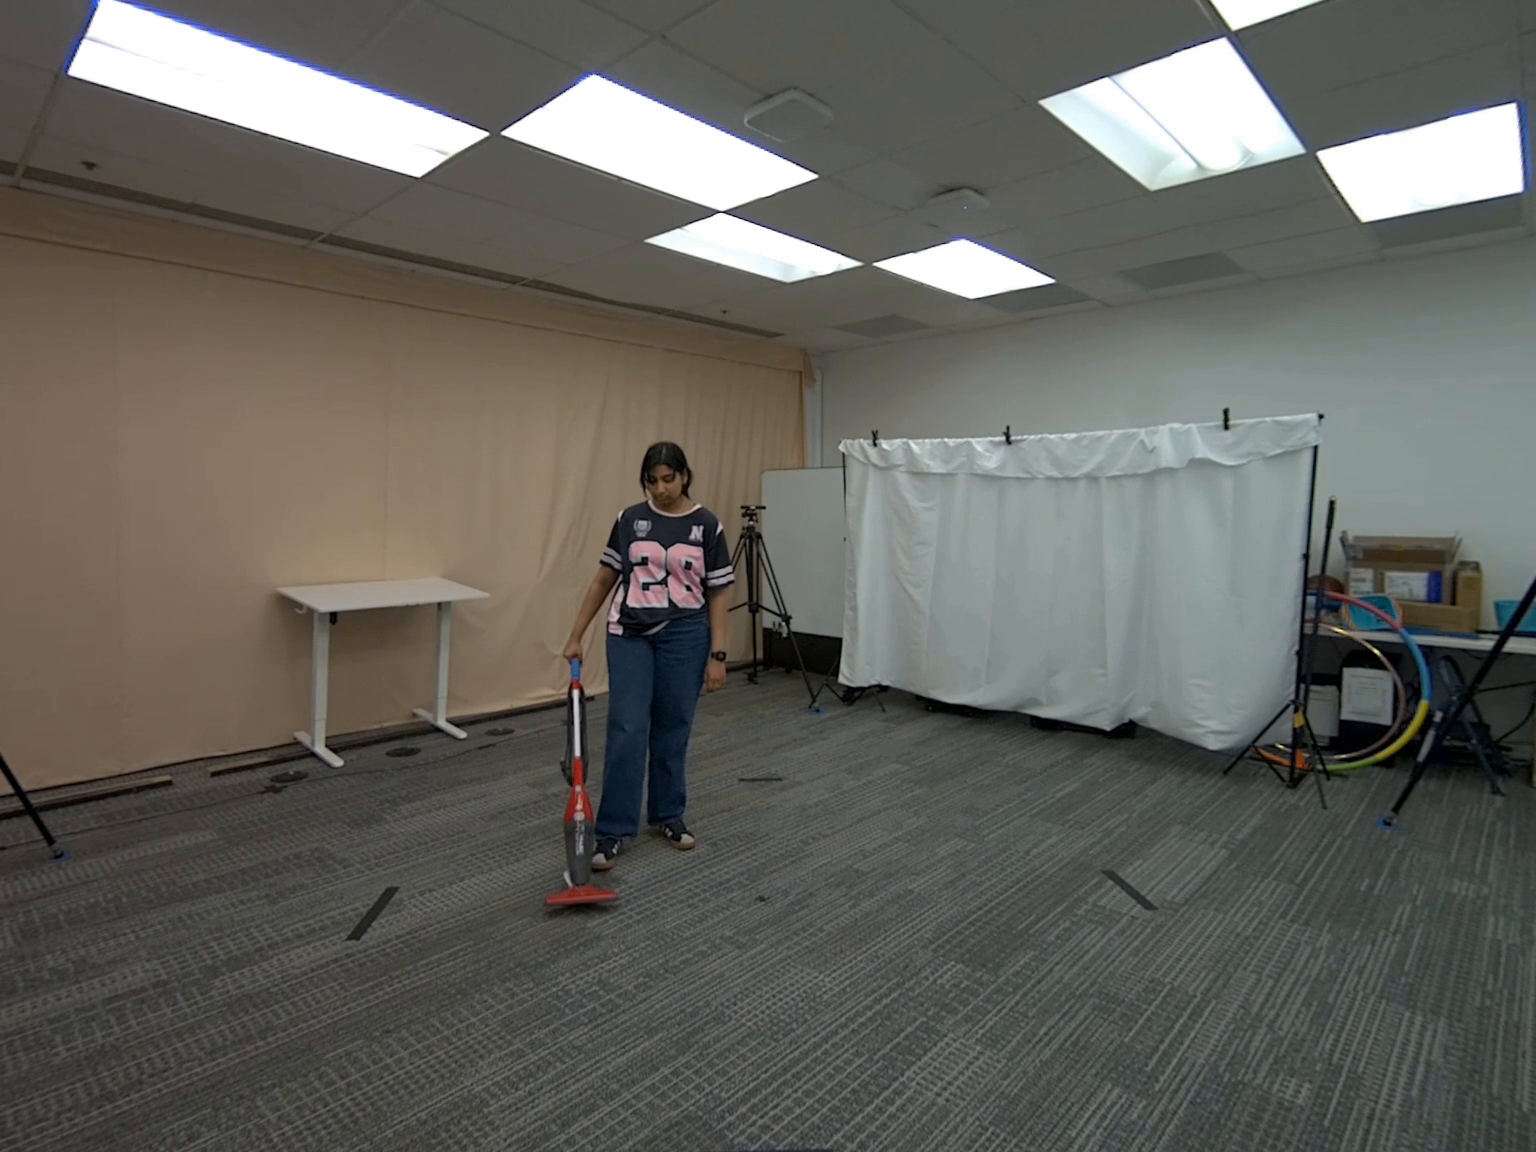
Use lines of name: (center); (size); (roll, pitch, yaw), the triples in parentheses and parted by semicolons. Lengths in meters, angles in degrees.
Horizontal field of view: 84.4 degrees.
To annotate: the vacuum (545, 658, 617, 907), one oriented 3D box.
vacuum: (-0.737, 0.726, 3.254); (0.249, 1.075, 0.142); (-2, -40, -12)
